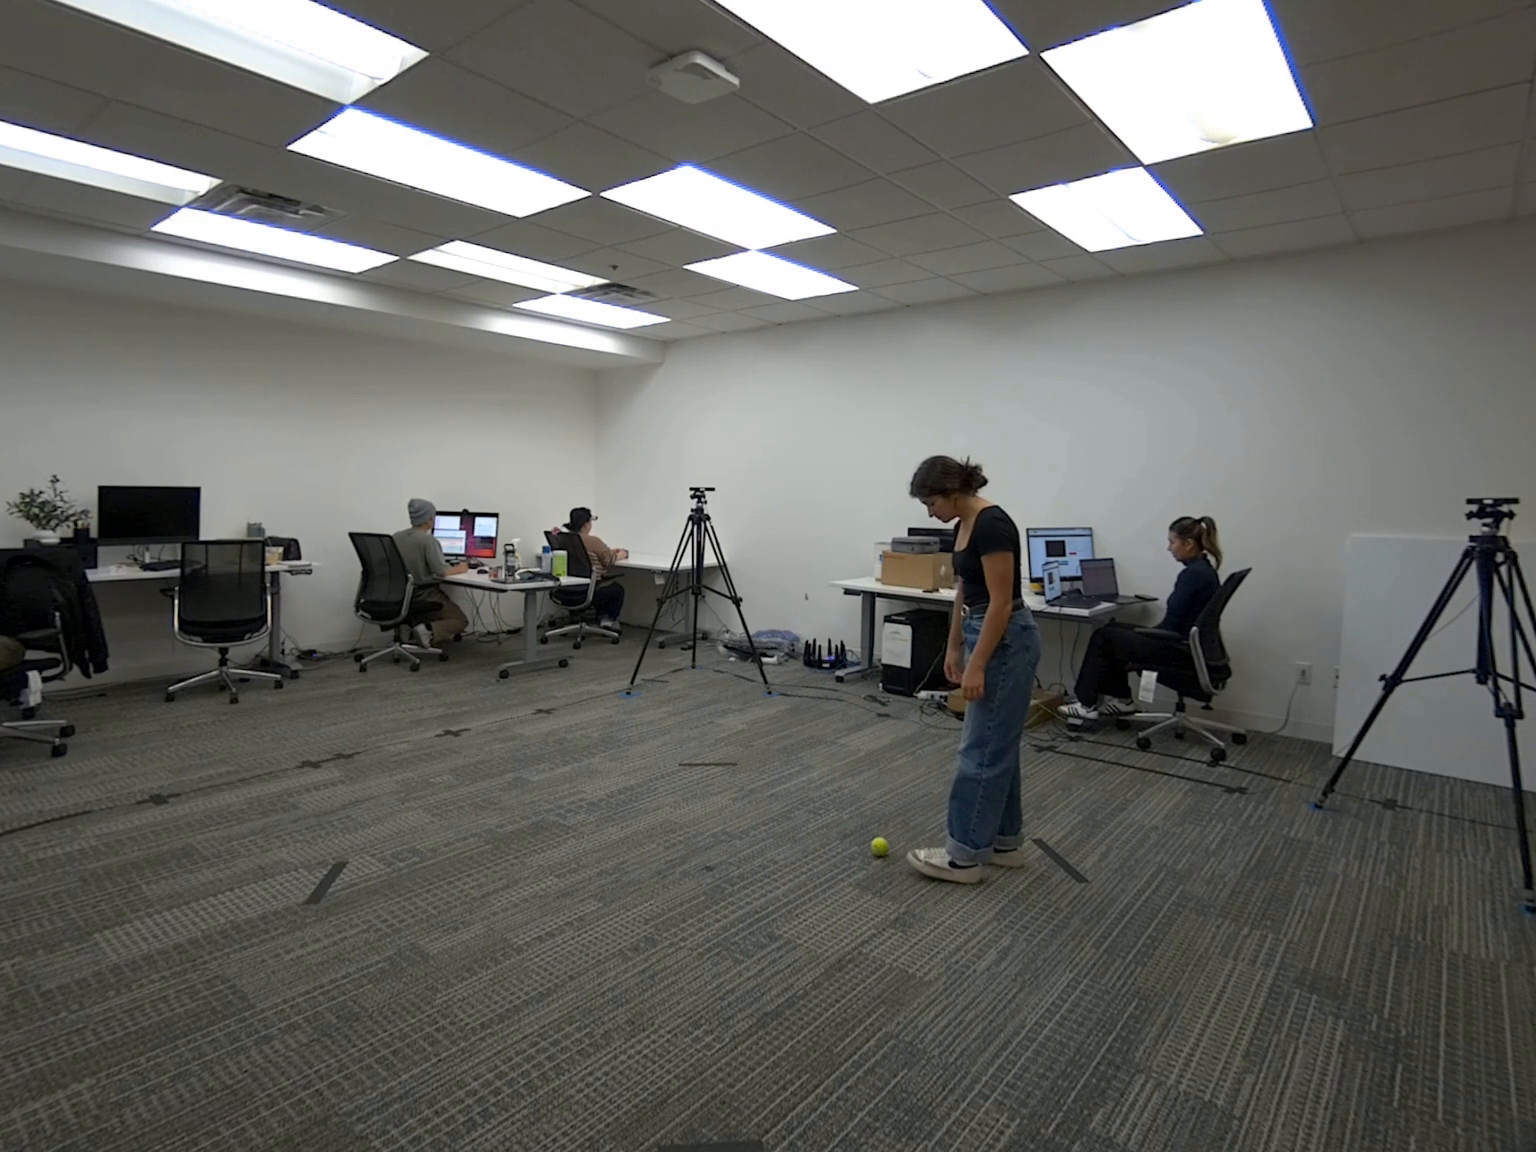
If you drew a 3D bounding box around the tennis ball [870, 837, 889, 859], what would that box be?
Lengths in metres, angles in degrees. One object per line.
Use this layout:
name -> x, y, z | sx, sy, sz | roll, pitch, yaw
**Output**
tennis ball -> 0.419, 1.015, 3.255 | 0.066, 0.066, 0.067 | 1, 4, -2
